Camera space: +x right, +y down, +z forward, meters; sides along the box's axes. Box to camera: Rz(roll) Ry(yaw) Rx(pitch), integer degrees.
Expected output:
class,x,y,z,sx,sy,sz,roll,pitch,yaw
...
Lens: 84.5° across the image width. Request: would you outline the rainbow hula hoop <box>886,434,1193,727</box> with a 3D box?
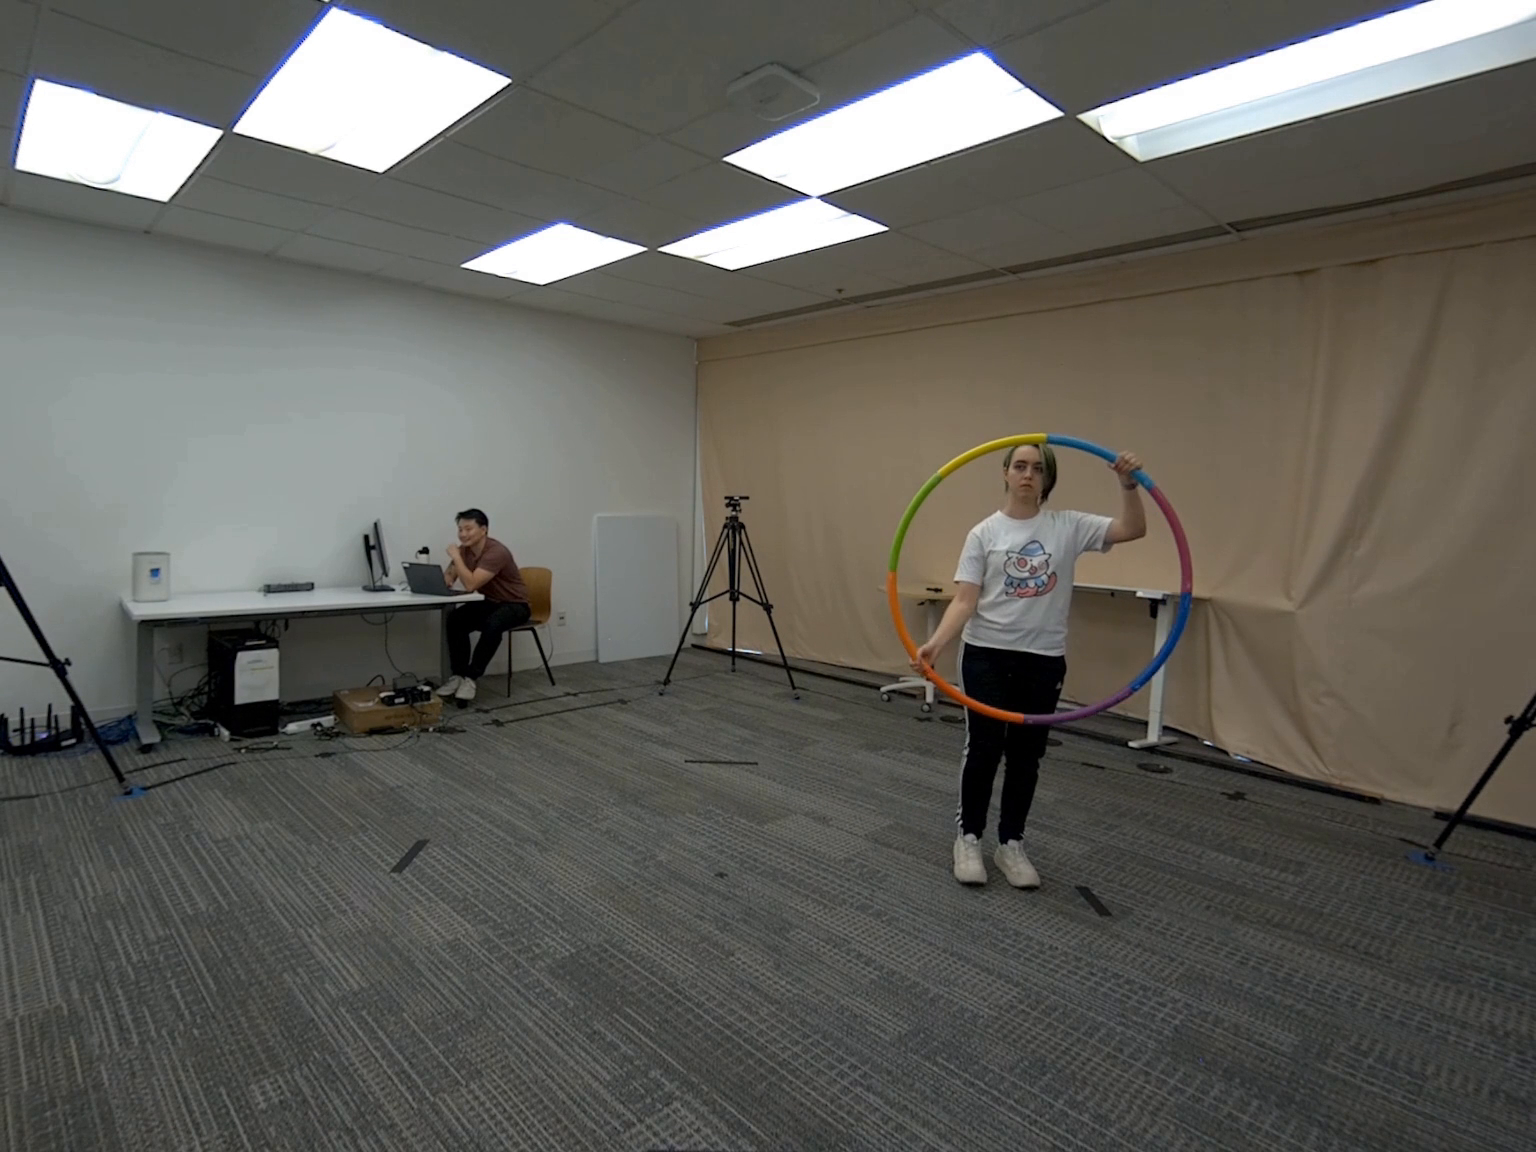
class,x,y,z,sx,sy,sz,roll,pitch,yaw
rainbow hula hoop,0.901,0.017,2.863,0.988,0.974,0.035,2,5,12
